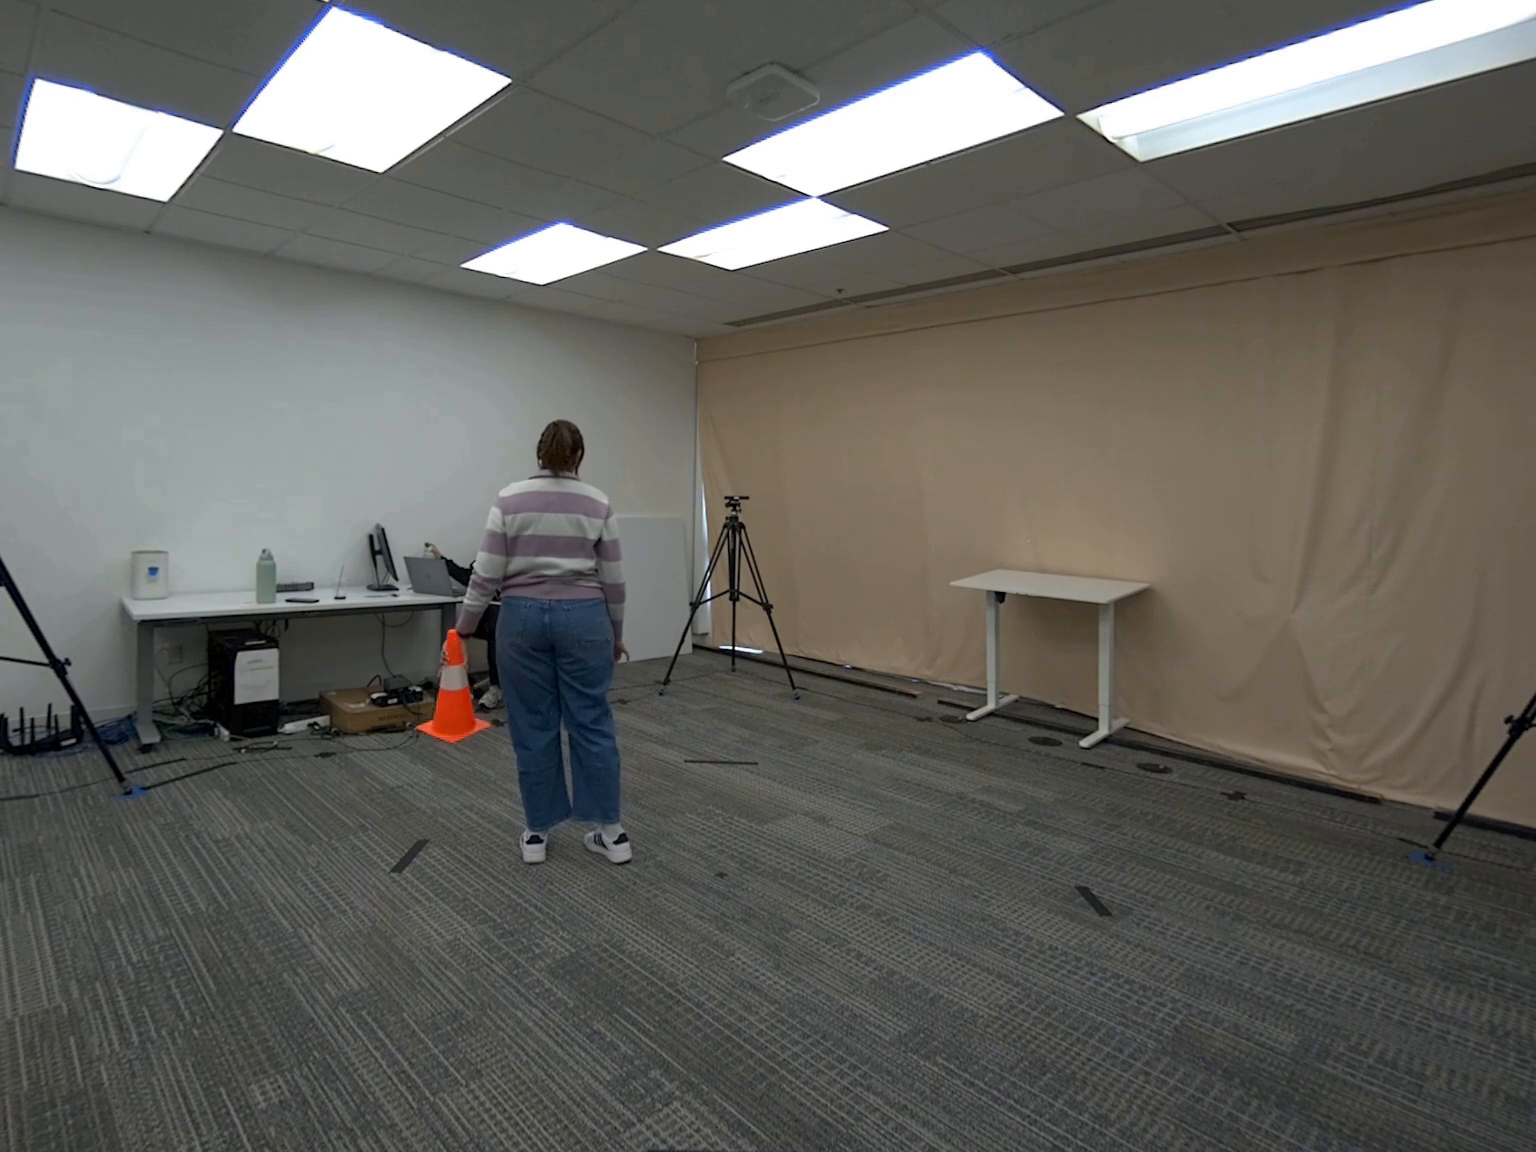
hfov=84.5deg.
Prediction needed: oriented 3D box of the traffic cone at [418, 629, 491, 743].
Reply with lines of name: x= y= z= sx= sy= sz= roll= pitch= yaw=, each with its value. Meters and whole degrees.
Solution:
traffic cone: x=-1.161 y=0.387 z=3.119 sx=0.210 sy=0.381 sz=0.200 roll=12 pitch=14 yaw=31
